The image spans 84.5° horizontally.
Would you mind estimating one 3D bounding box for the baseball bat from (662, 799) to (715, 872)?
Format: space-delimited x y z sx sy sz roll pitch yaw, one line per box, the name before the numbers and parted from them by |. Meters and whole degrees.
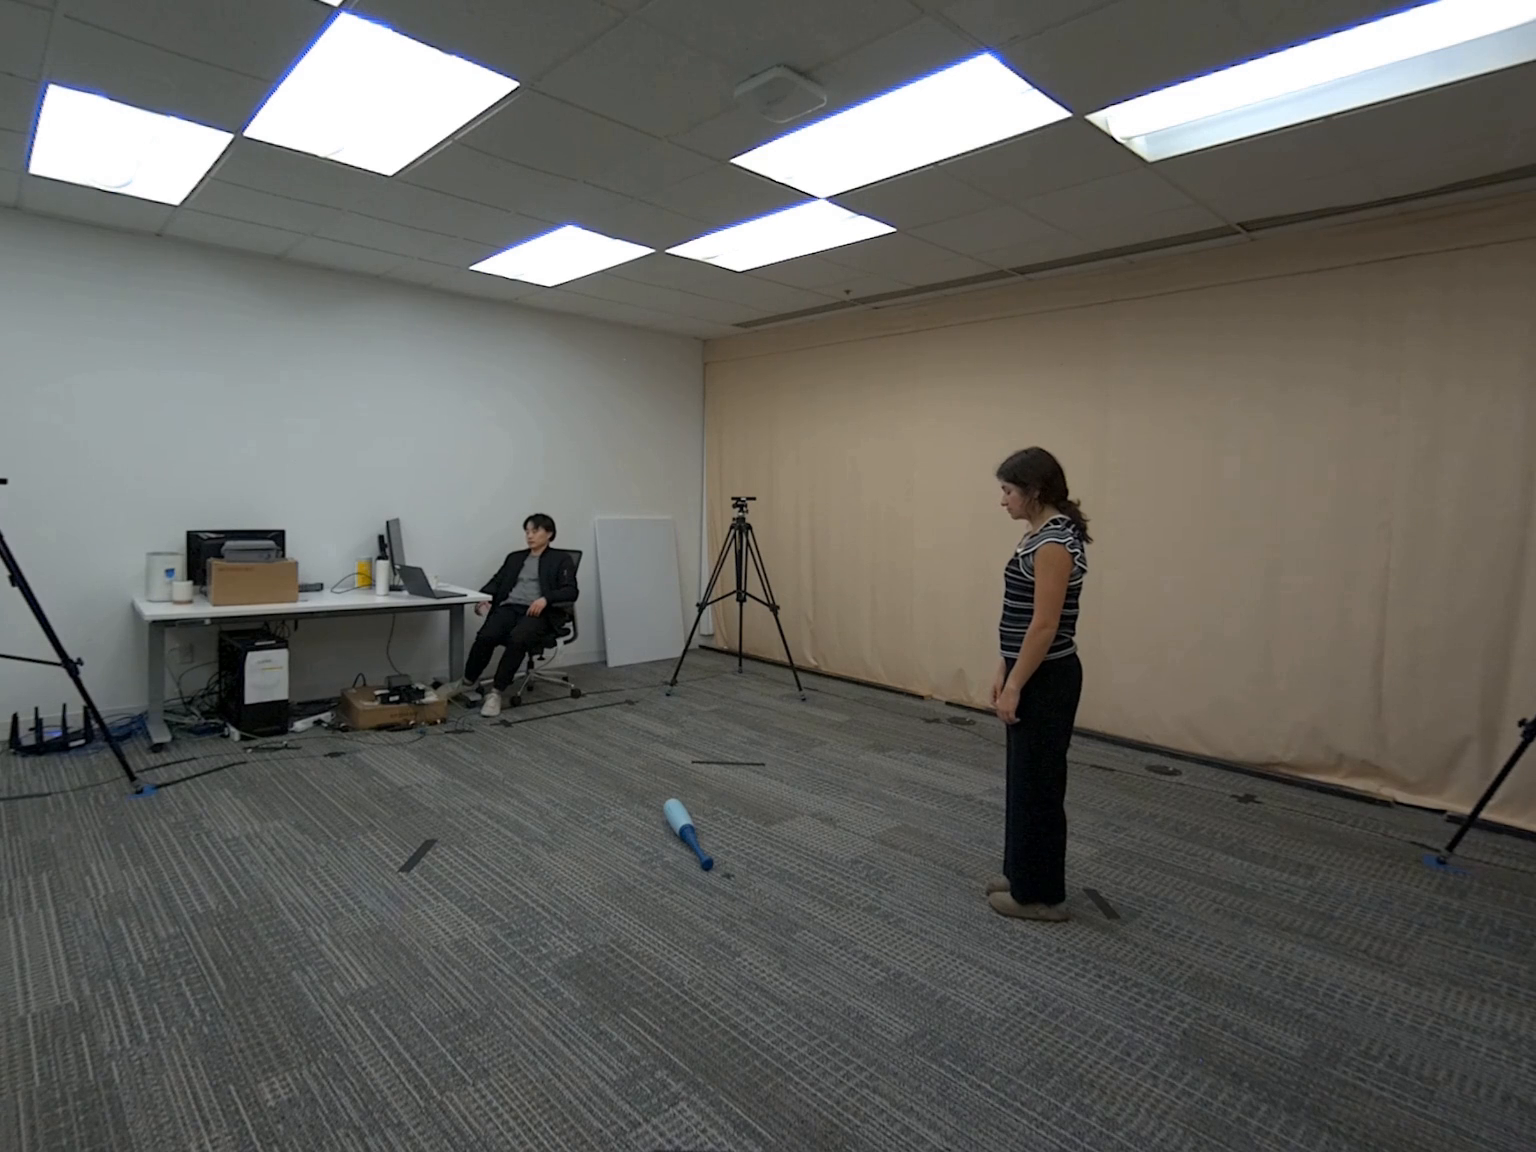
baseball bat | -0.330 1.044 3.393 0.088 0.088 0.554 0 9 -20
